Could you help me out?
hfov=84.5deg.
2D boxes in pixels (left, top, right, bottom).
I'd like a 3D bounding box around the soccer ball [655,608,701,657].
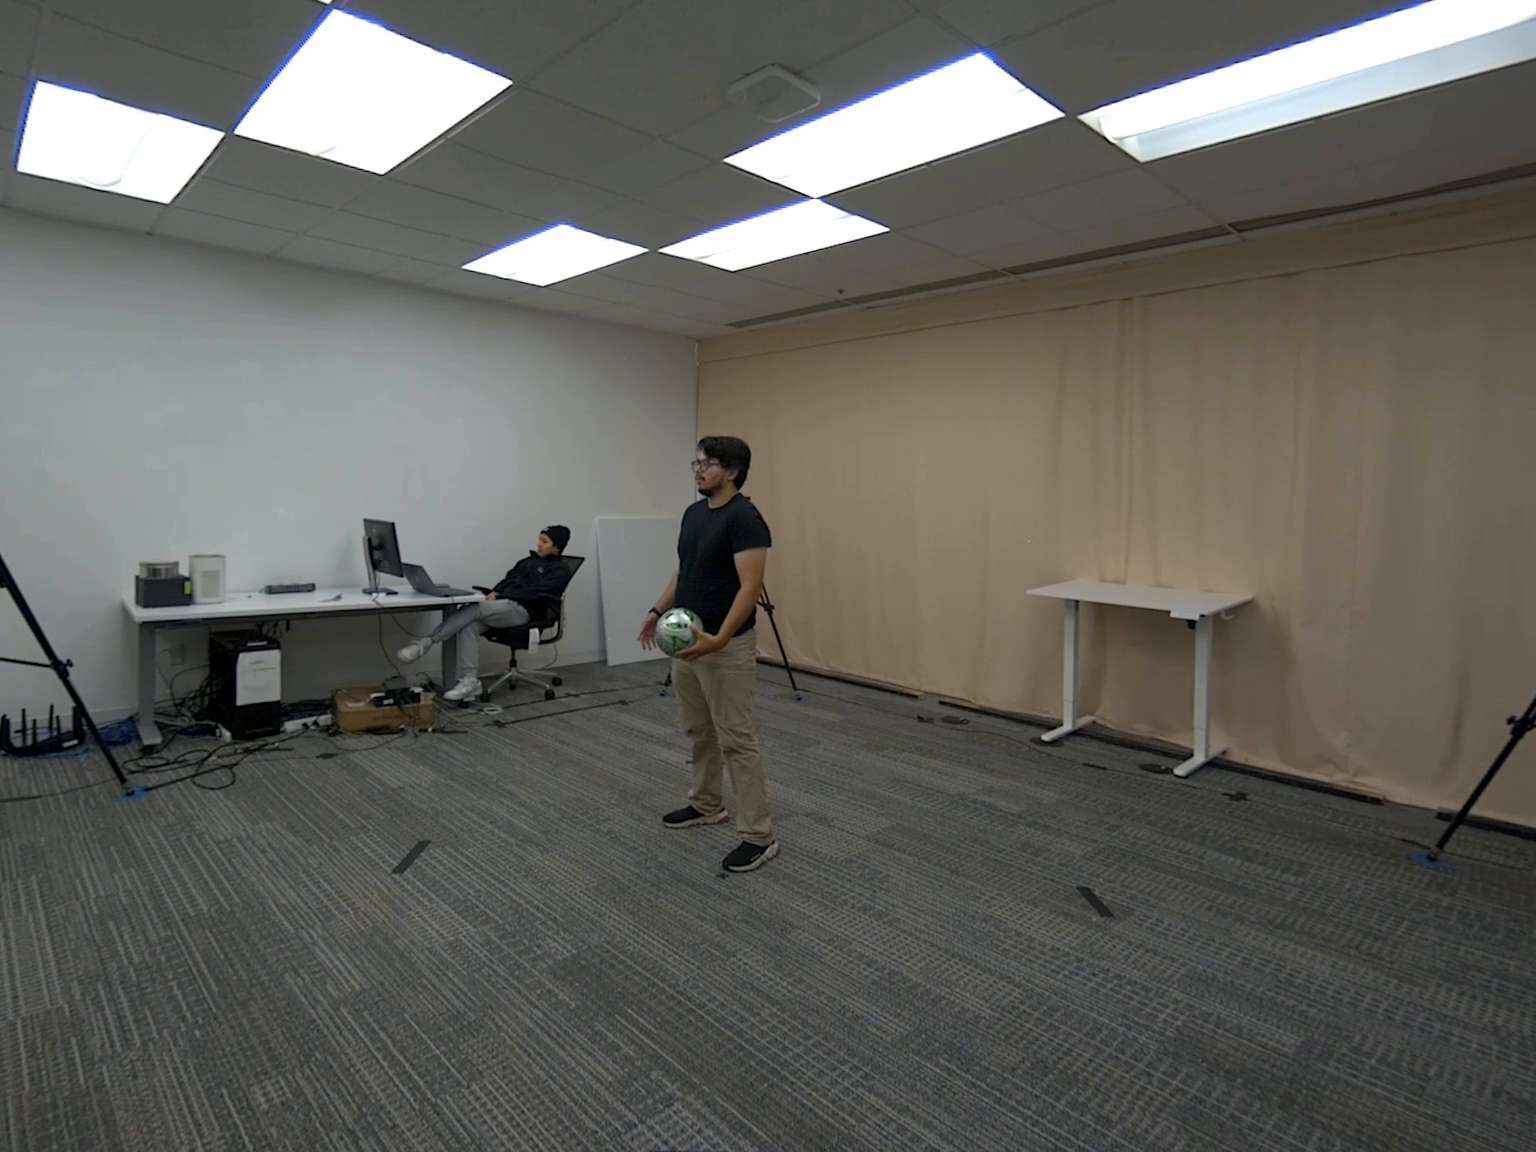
[{"bbox_3d":[-0.341,0.213,3.166,0.187,0.187,0.188,1,4,-1],"label":"soccer ball"}]
